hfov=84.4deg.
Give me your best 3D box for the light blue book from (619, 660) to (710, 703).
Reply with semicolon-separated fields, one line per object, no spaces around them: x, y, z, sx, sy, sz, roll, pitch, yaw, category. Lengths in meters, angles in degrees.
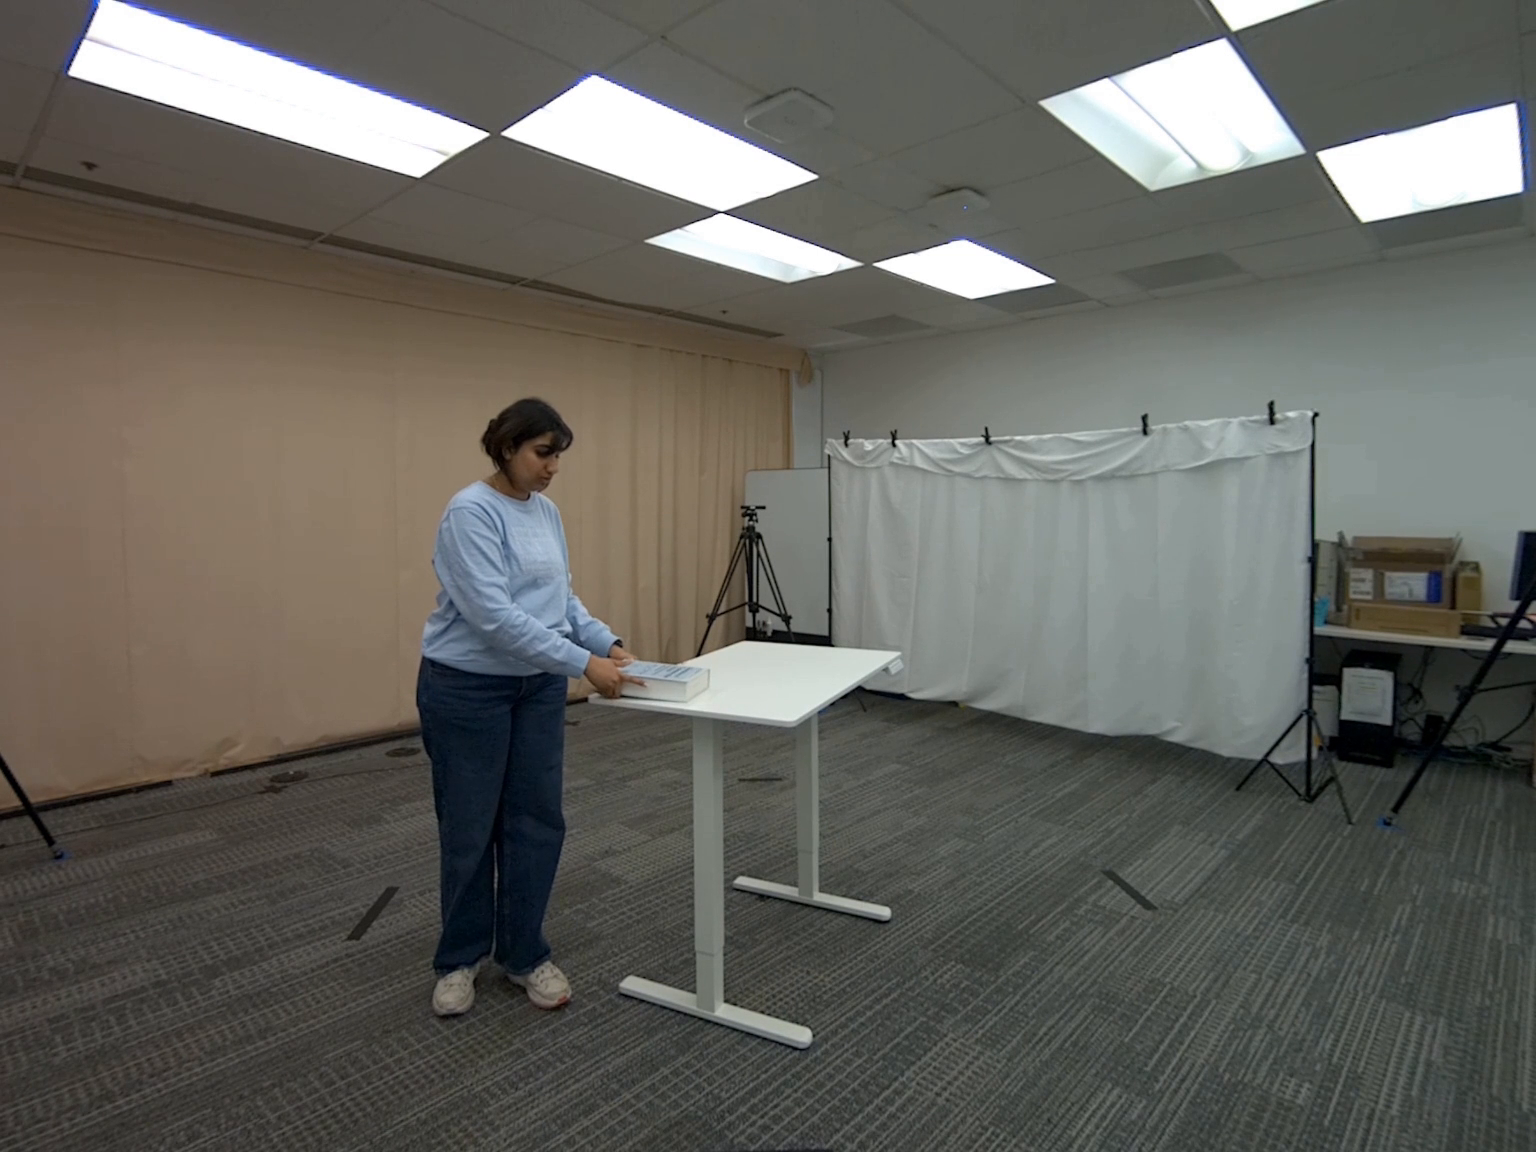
-0.312;0.289;2.288;0.266;0.059;0.188;4;5;18;light blue book
